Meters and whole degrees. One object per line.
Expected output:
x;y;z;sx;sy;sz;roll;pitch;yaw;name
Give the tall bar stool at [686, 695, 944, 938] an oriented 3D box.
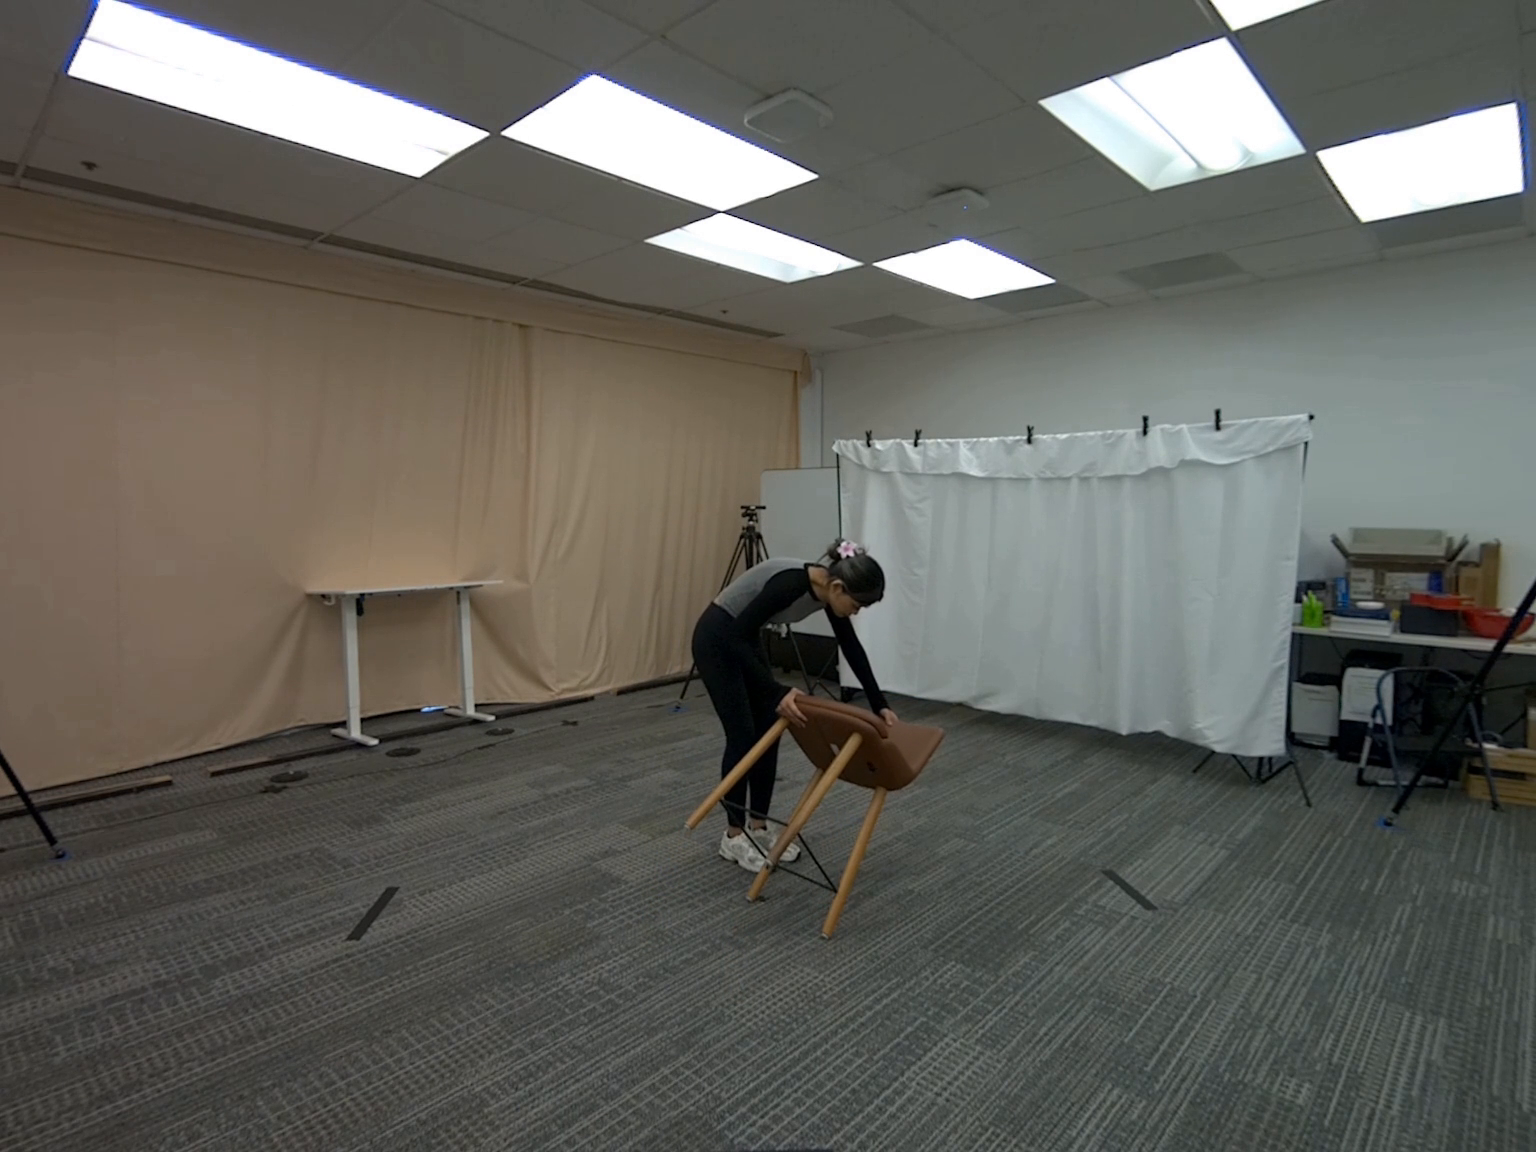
0.210;0.707;2.943;0.472;0.455;0.884;4;44;47;tall bar stool
